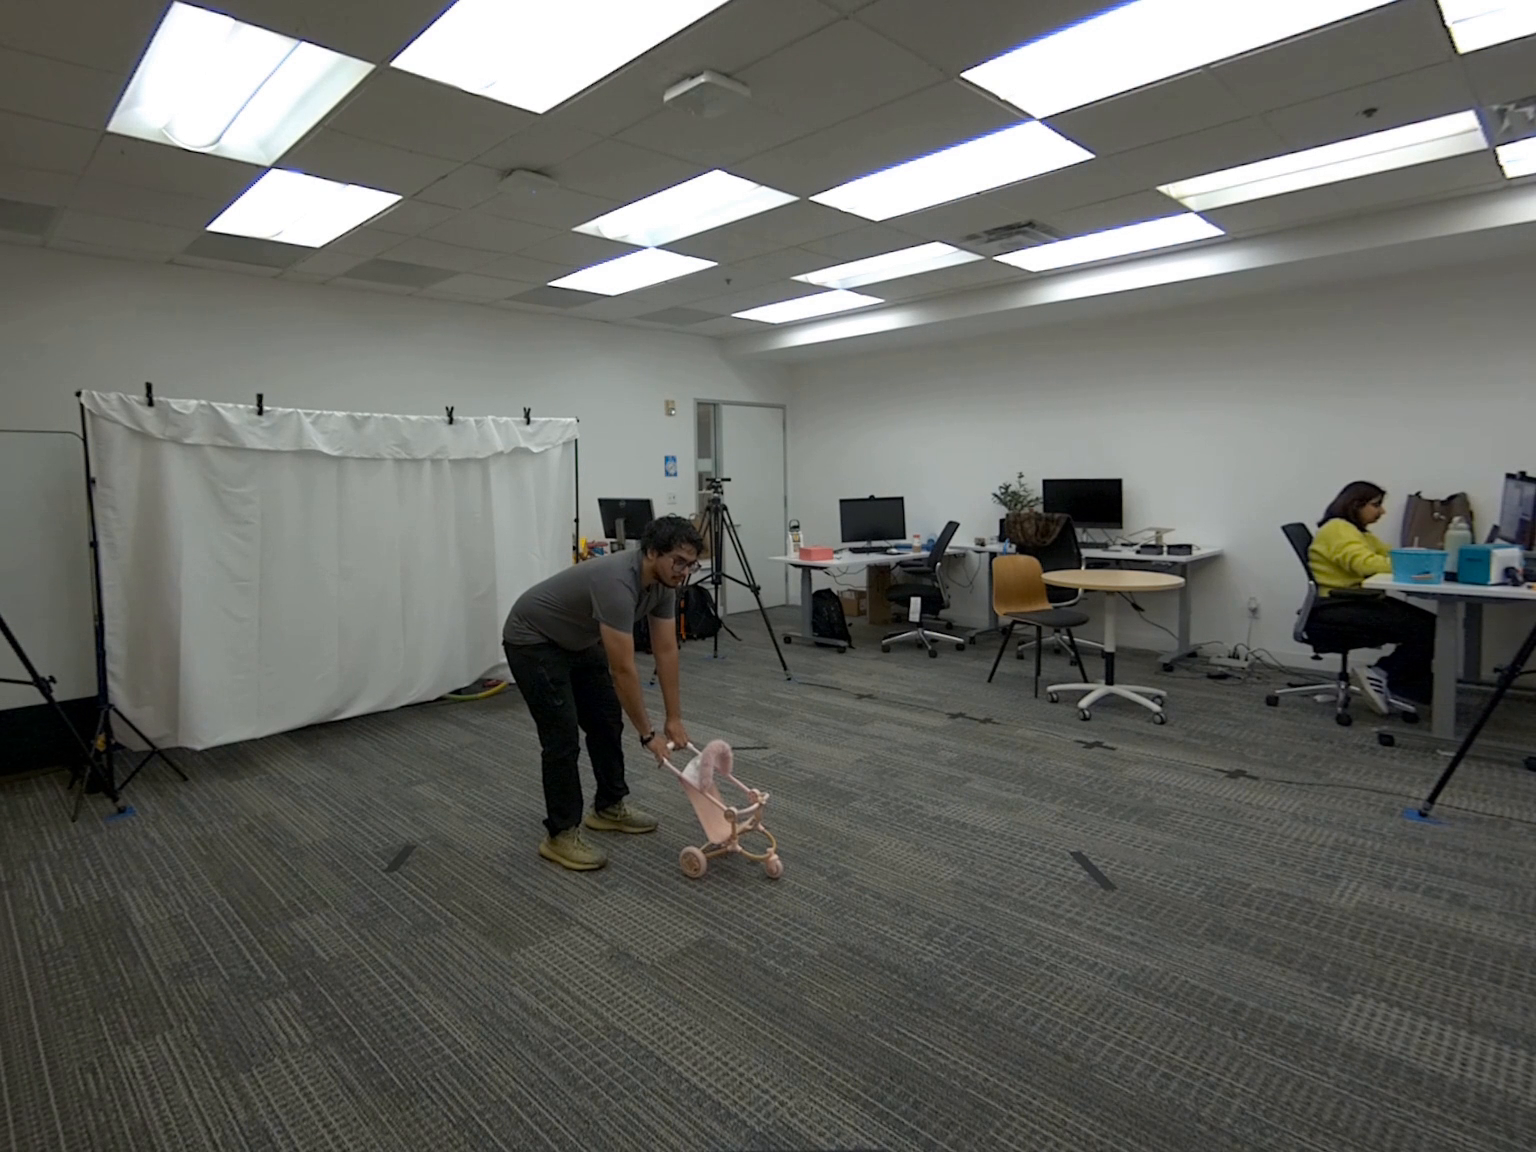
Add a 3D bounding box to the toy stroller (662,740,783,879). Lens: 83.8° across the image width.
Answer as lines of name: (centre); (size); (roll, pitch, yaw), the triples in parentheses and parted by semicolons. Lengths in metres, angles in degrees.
toy stroller: (-0.157, 0.828, 3.059); (0.347, 0.538, 0.275); (-18, -5, 31)
